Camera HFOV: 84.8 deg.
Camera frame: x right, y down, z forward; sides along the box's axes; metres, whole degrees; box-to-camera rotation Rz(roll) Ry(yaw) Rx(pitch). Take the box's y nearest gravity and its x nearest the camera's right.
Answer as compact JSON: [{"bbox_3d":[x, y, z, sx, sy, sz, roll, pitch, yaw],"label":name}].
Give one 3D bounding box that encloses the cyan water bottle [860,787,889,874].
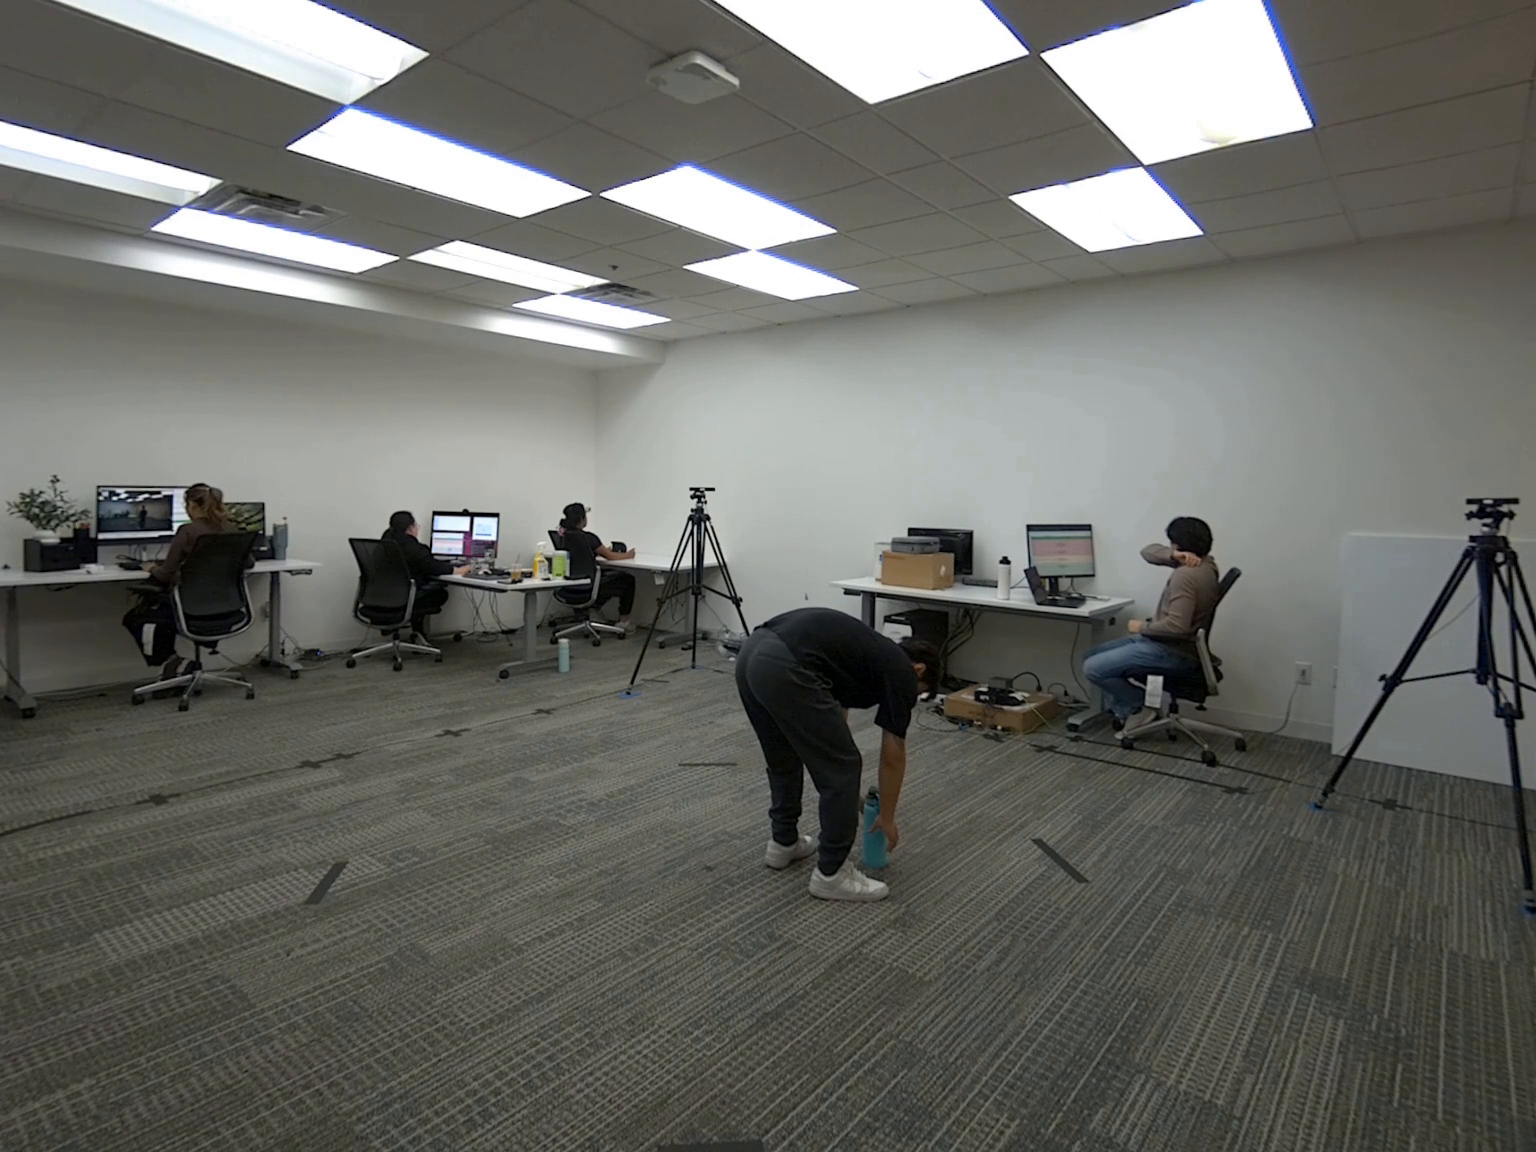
[{"bbox_3d":[0.392,0.934,3.171,0.092,0.282,0.093,1,5,-2],"label":"cyan water bottle"}]
